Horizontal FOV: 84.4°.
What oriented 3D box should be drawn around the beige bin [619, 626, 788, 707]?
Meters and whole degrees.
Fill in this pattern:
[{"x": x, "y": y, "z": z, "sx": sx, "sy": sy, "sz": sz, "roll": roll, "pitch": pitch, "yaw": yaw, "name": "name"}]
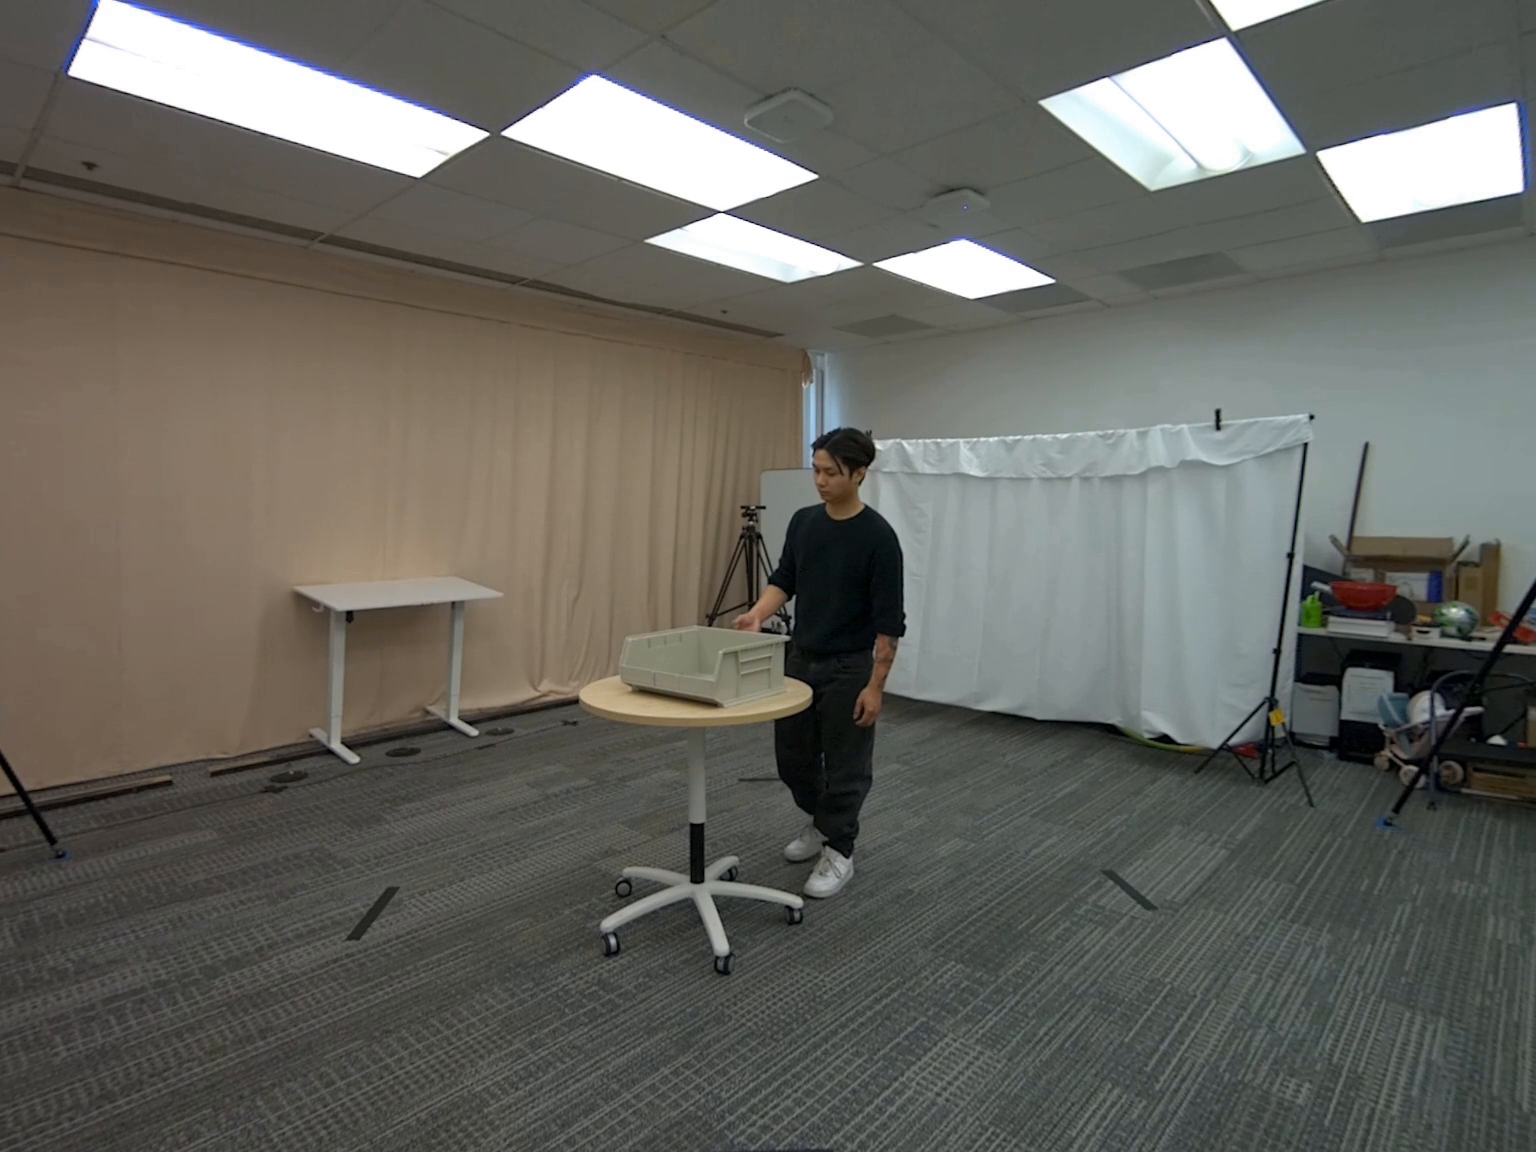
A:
[{"x": -0.205, "y": 0.292, "z": 2.752, "sx": 0.436, "sy": 0.189, "sz": 0.366, "roll": 2, "pitch": 4, "yaw": 39, "name": "beige bin"}]
